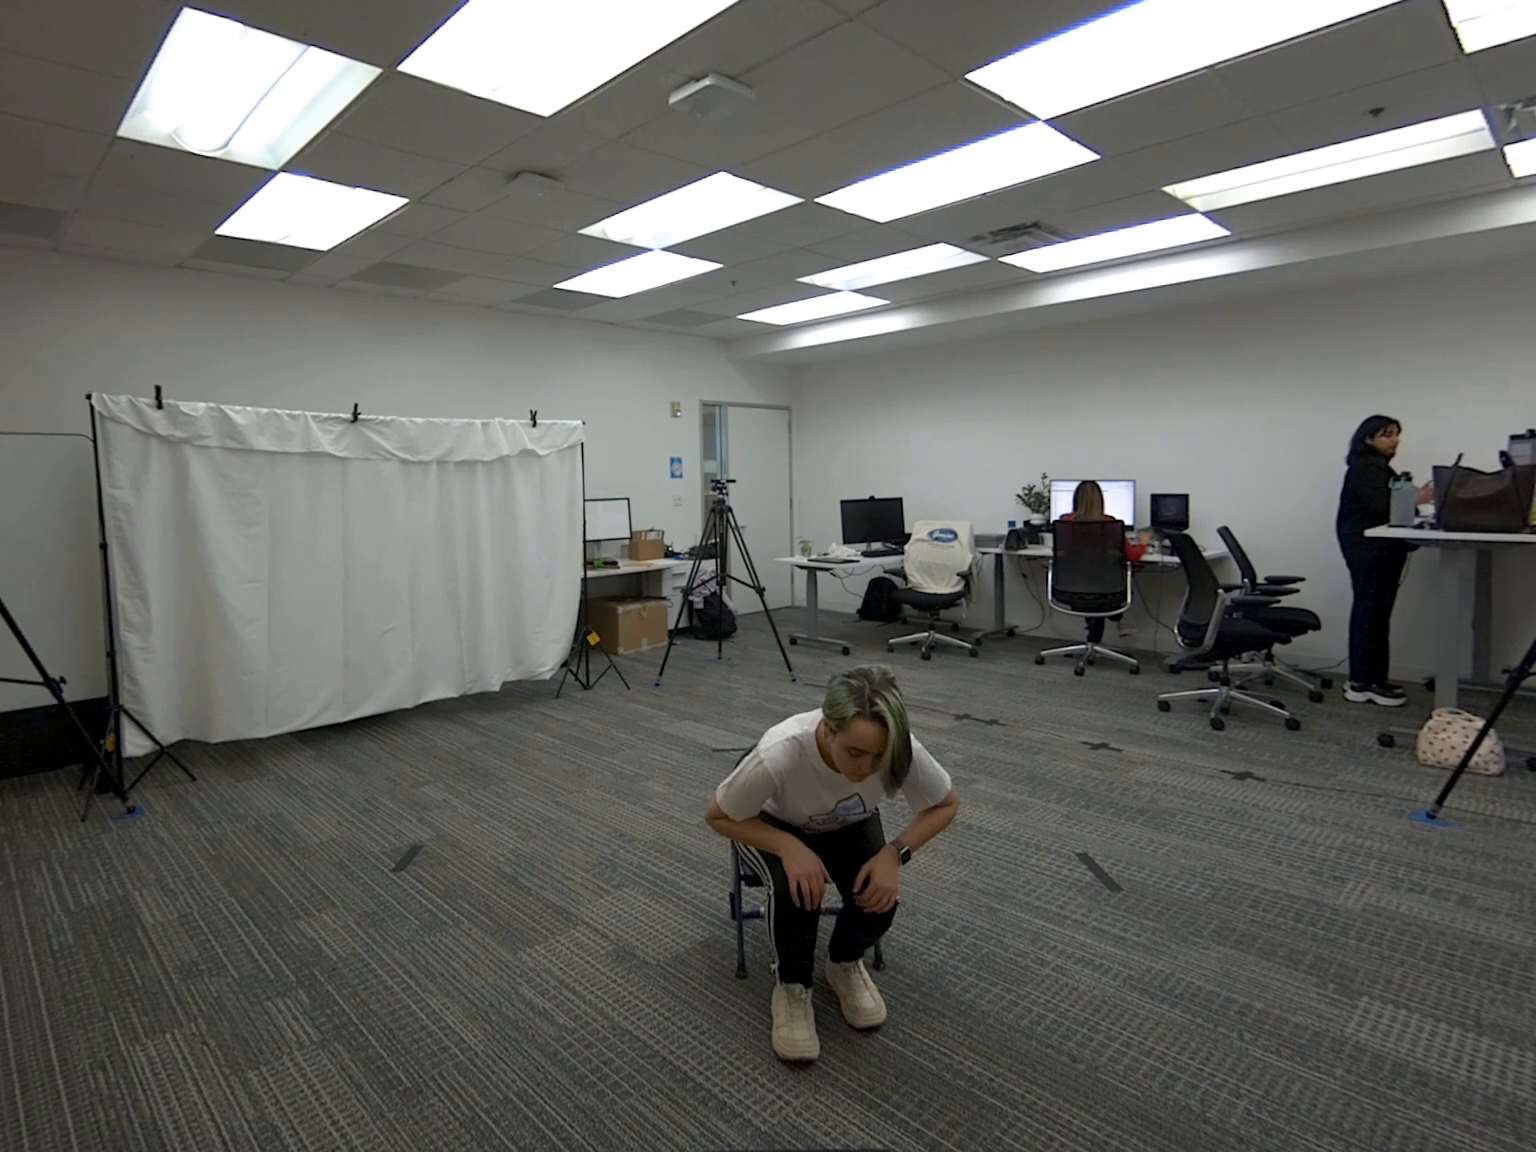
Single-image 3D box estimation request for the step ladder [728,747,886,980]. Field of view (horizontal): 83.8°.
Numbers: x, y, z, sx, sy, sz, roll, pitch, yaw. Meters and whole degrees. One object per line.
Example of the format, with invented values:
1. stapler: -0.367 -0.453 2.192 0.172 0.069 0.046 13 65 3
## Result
1. step ladder: 0.109 0.810 2.566 0.429 0.603 0.353 -1 6 -5
